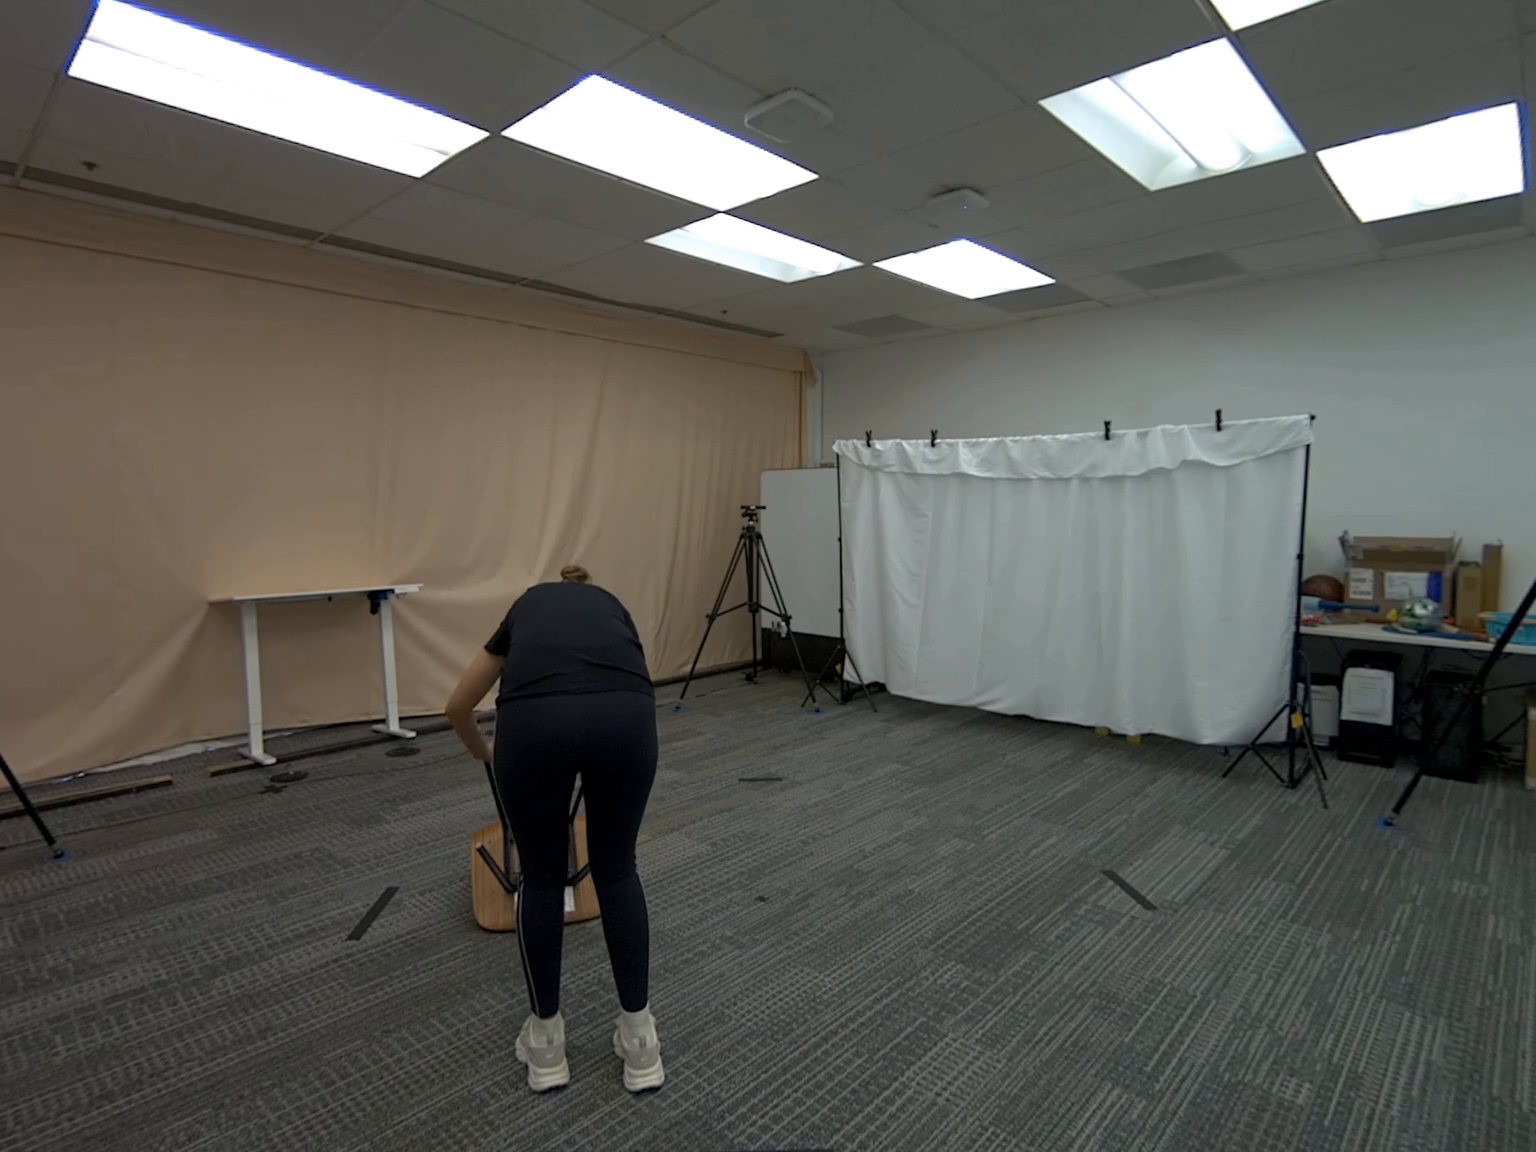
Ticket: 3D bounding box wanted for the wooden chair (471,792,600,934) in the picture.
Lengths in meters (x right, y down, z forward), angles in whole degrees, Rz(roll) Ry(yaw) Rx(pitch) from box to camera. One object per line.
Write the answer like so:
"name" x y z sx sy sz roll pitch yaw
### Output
"wooden chair" -0.801 0.980 2.957 0.469 0.869 0.538 0 43 -20
